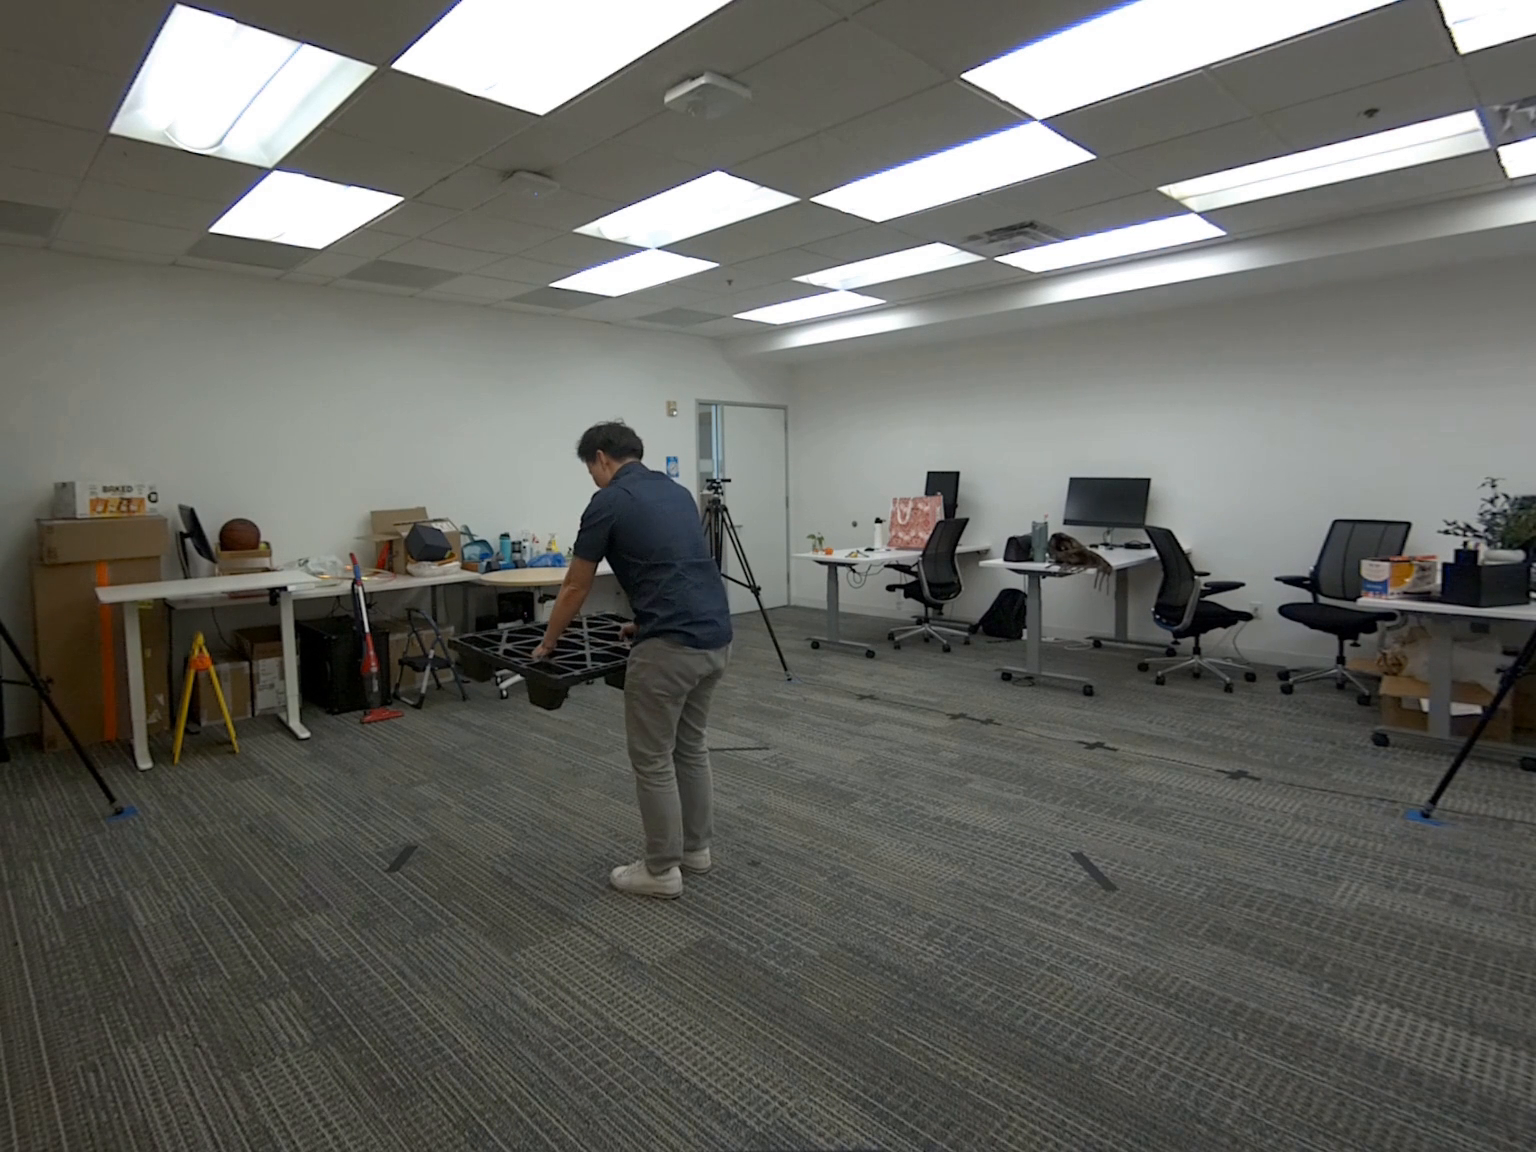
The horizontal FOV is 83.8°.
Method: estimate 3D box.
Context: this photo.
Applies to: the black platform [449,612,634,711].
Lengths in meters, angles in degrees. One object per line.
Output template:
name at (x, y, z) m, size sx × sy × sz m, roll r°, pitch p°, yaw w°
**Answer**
black platform at (-0.669, 0.299, 3.164) m, size 0.625 × 0.142 × 0.785 m, roll 12°, pitch 12°, yaw 36°
